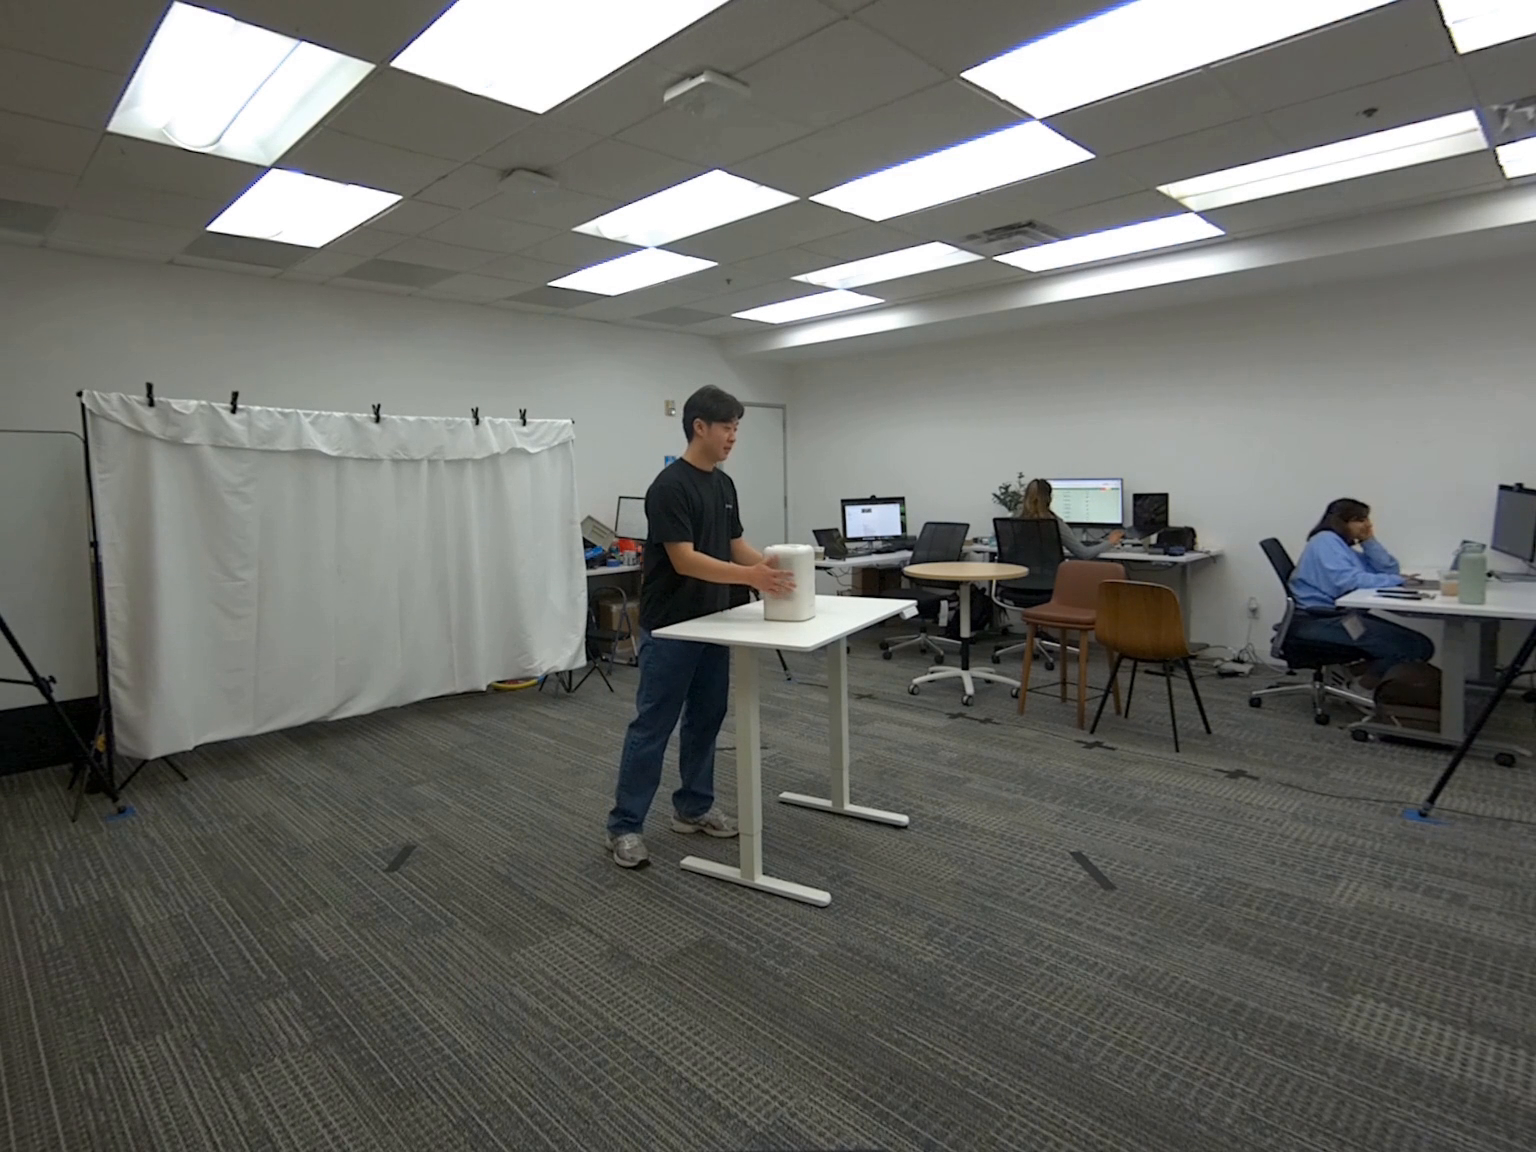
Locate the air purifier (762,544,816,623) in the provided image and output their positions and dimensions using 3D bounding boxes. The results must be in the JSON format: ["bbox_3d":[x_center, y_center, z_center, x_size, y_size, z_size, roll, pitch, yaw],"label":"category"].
[{"bbox_3d":[0.077,0.023,3.120,0.175,0.264,0.168,0,5,24],"label":"air purifier"}]
